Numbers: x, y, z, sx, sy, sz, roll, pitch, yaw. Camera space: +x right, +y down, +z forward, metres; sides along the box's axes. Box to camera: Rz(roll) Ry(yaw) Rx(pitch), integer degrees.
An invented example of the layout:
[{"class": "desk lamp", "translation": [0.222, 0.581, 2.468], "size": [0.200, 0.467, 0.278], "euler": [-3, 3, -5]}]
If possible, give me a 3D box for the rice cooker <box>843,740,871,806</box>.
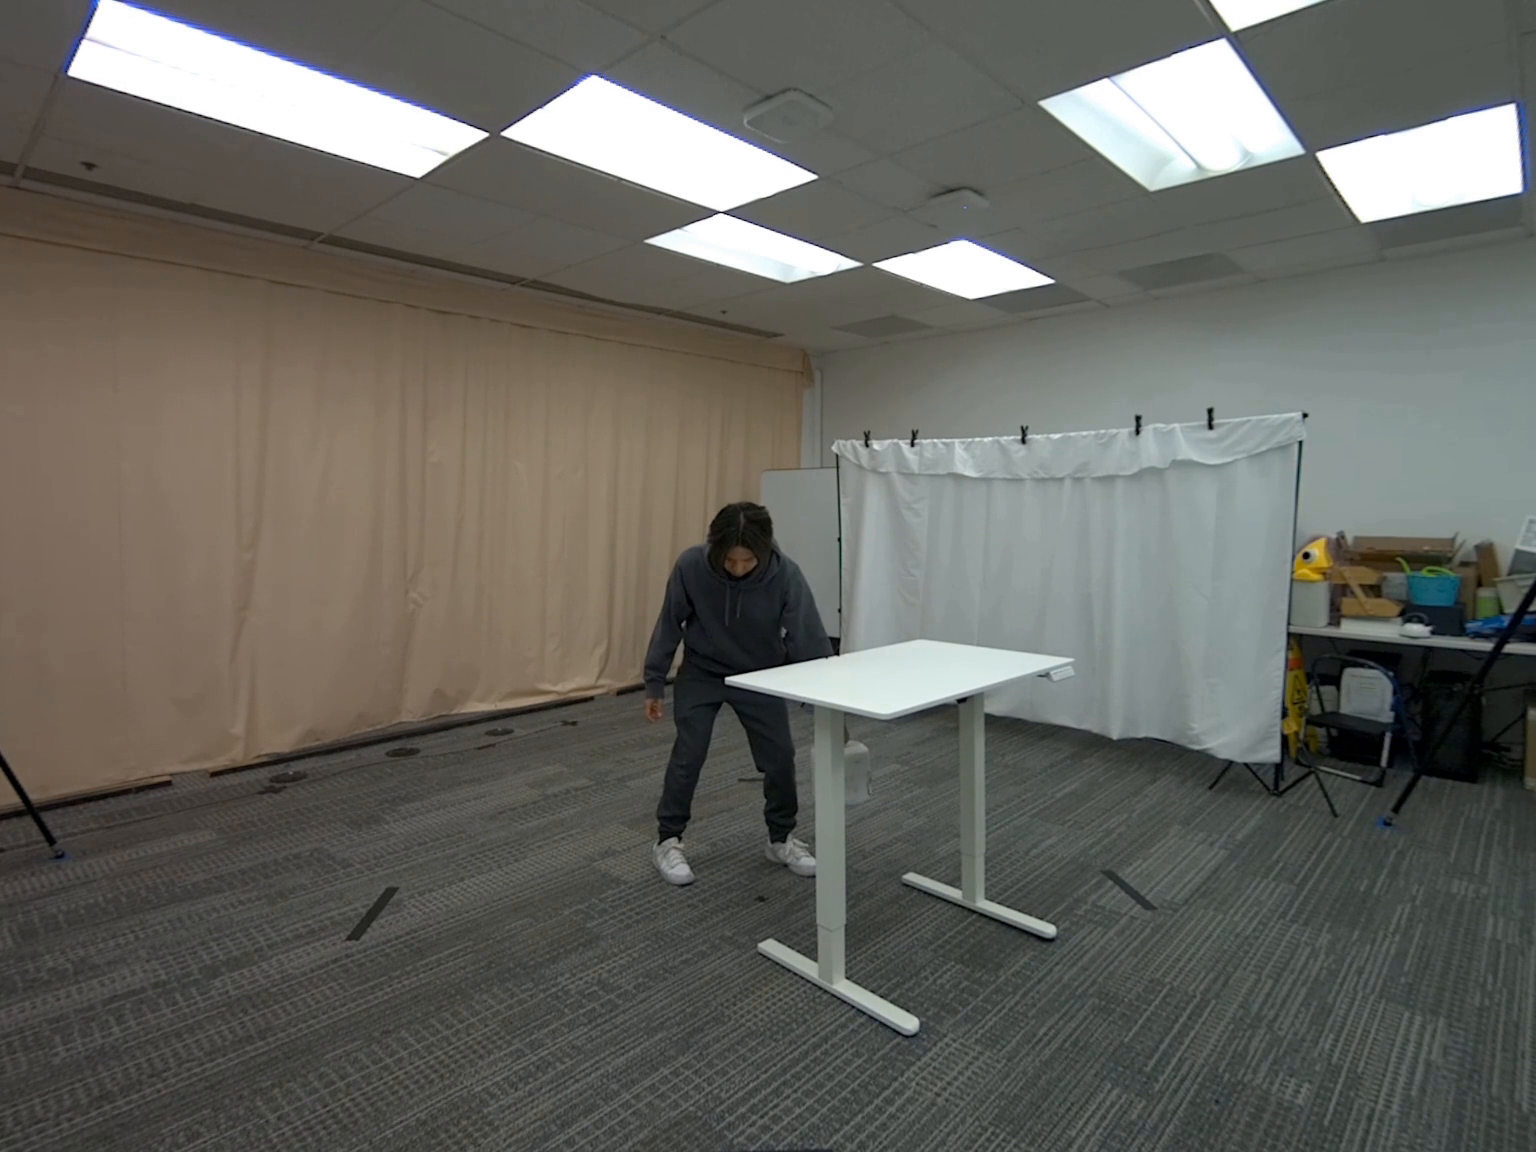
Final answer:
[{"class": "rice cooker", "translation": [0.262, 0.690, 3.006], "size": [0.222, 0.233, 0.215], "euler": [-3, -1, 23]}]
